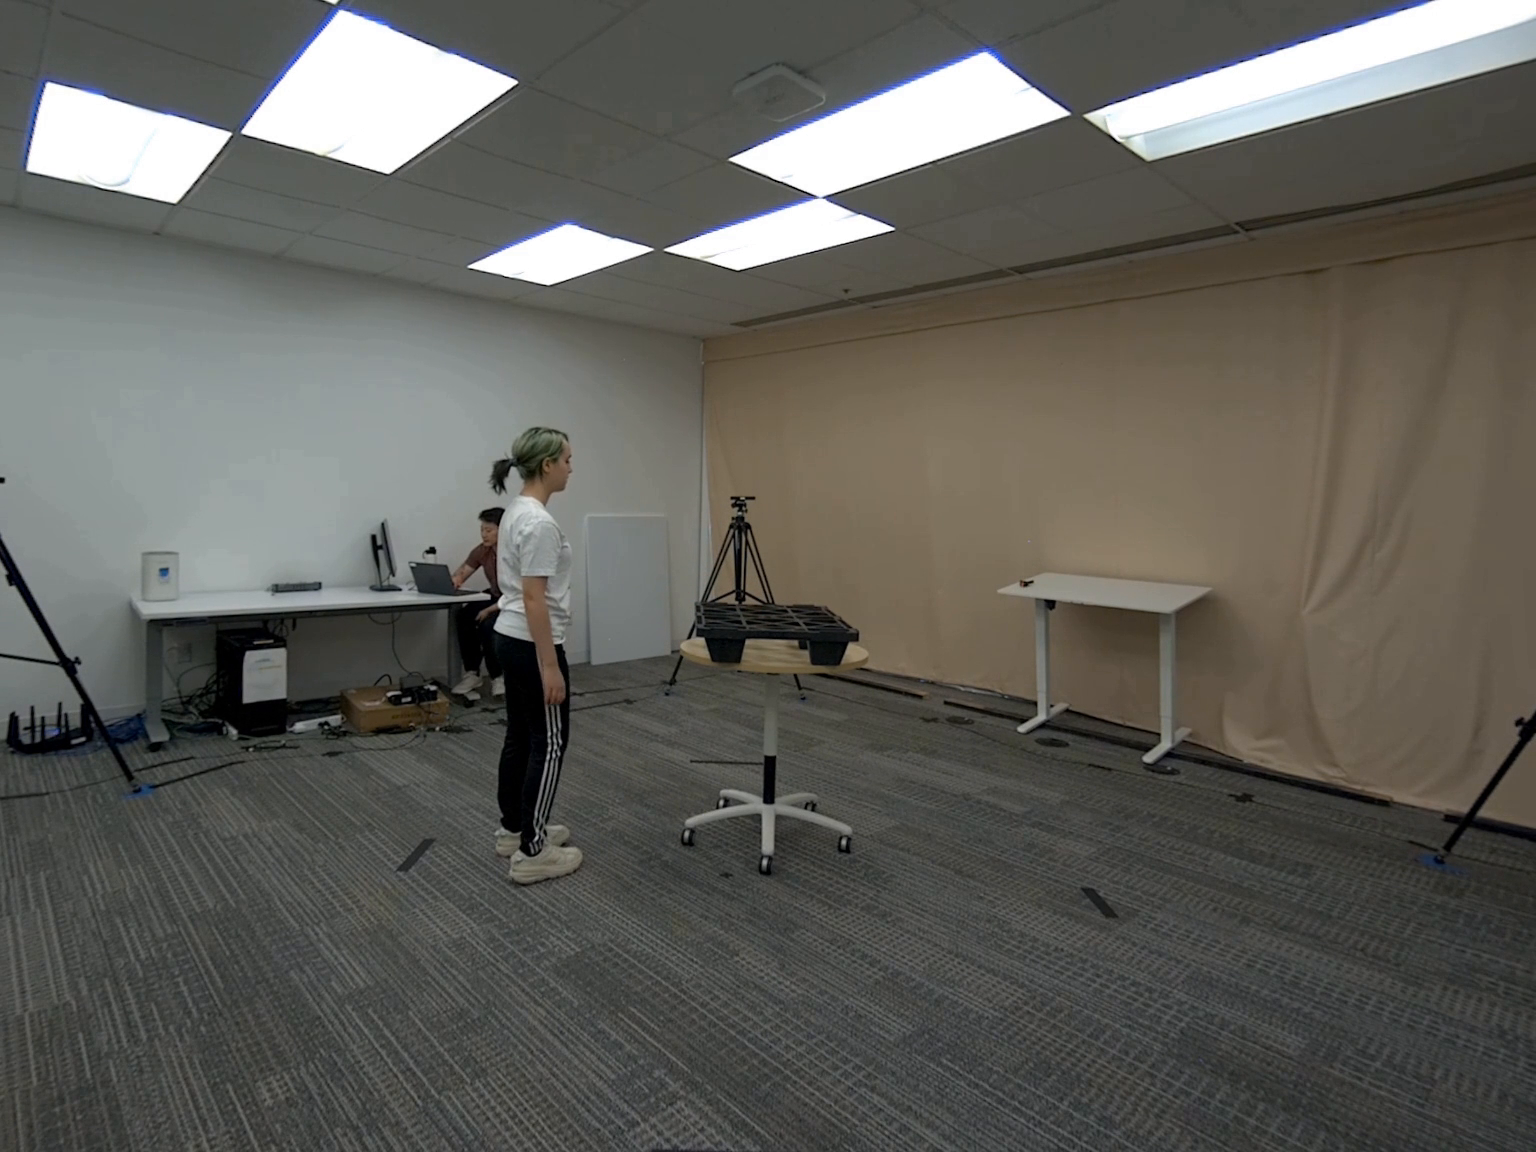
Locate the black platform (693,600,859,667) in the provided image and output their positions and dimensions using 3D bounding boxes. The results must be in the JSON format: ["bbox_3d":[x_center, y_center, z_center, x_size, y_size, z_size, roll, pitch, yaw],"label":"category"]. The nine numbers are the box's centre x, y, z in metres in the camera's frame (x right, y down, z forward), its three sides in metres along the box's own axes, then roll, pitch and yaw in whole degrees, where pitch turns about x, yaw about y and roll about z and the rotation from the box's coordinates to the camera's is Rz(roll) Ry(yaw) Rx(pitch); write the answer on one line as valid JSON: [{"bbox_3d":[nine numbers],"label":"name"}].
[{"bbox_3d":[-0.013,0.228,3.441,0.603,0.143,0.810,2,5,-4],"label":"black platform"}]
